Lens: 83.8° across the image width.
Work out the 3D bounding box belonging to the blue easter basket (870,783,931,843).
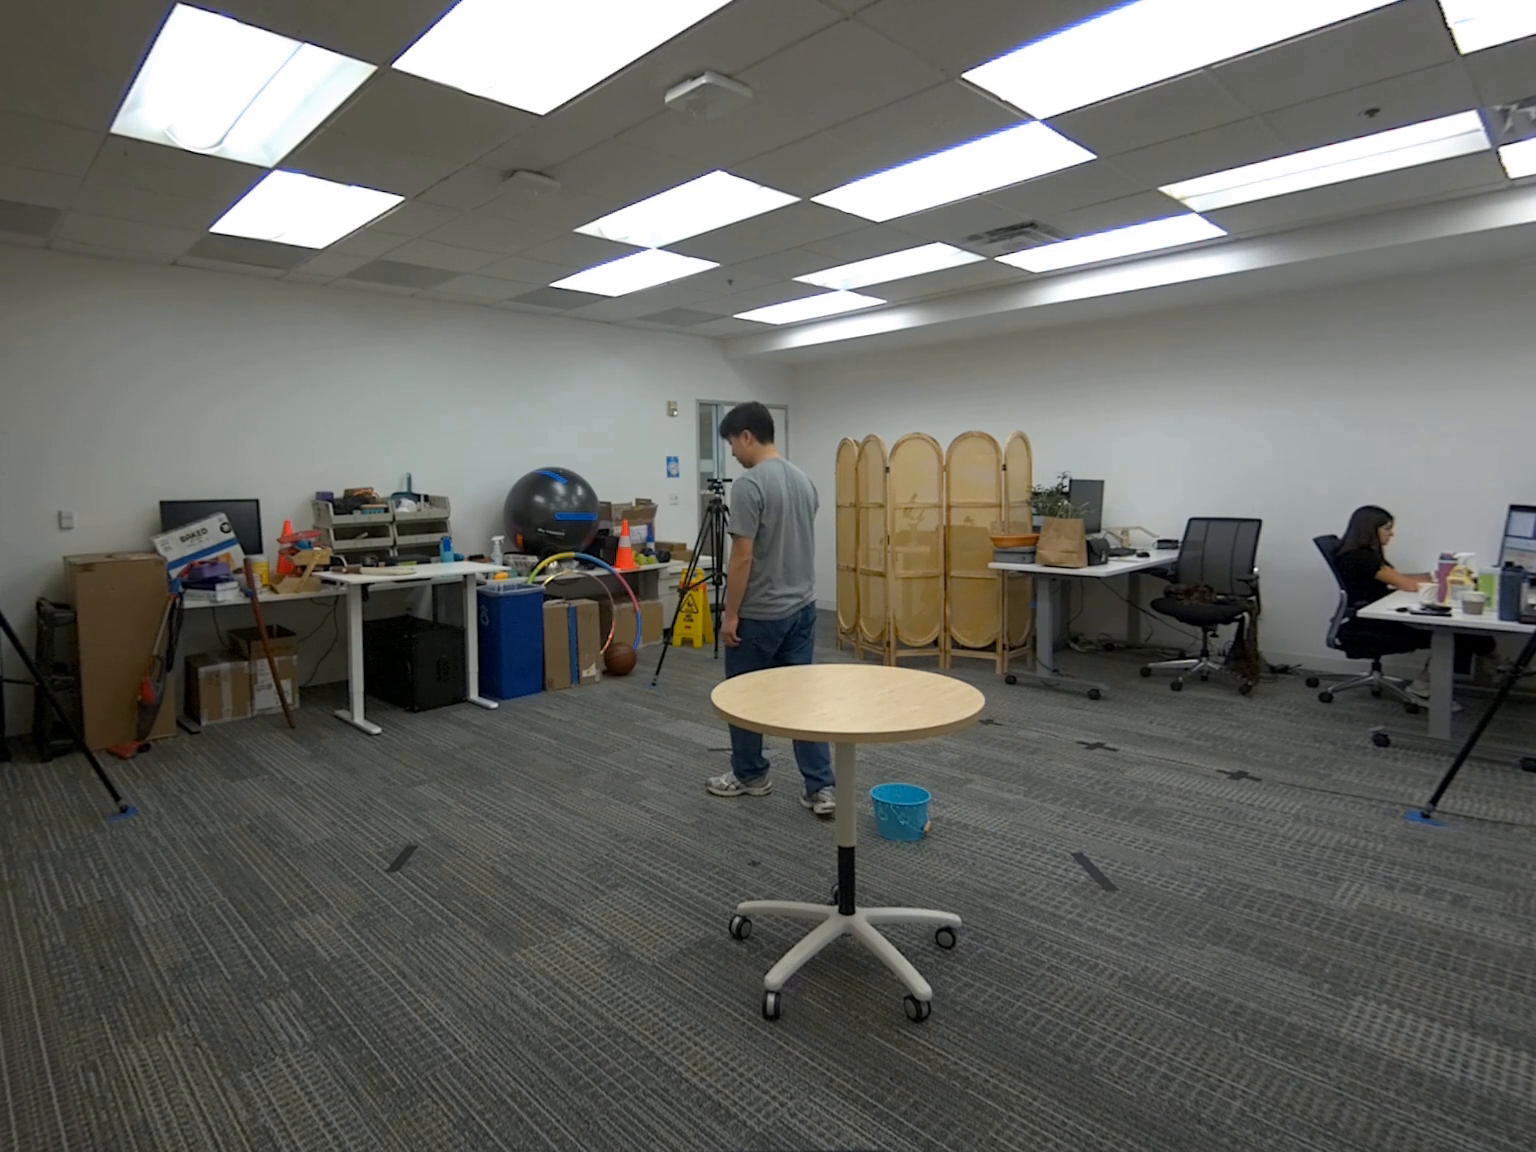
[{"bbox_3d":[0.528,0.930,3.355,0.243,0.155,0.245,-2,5,-2],"label":"blue easter basket"}]
